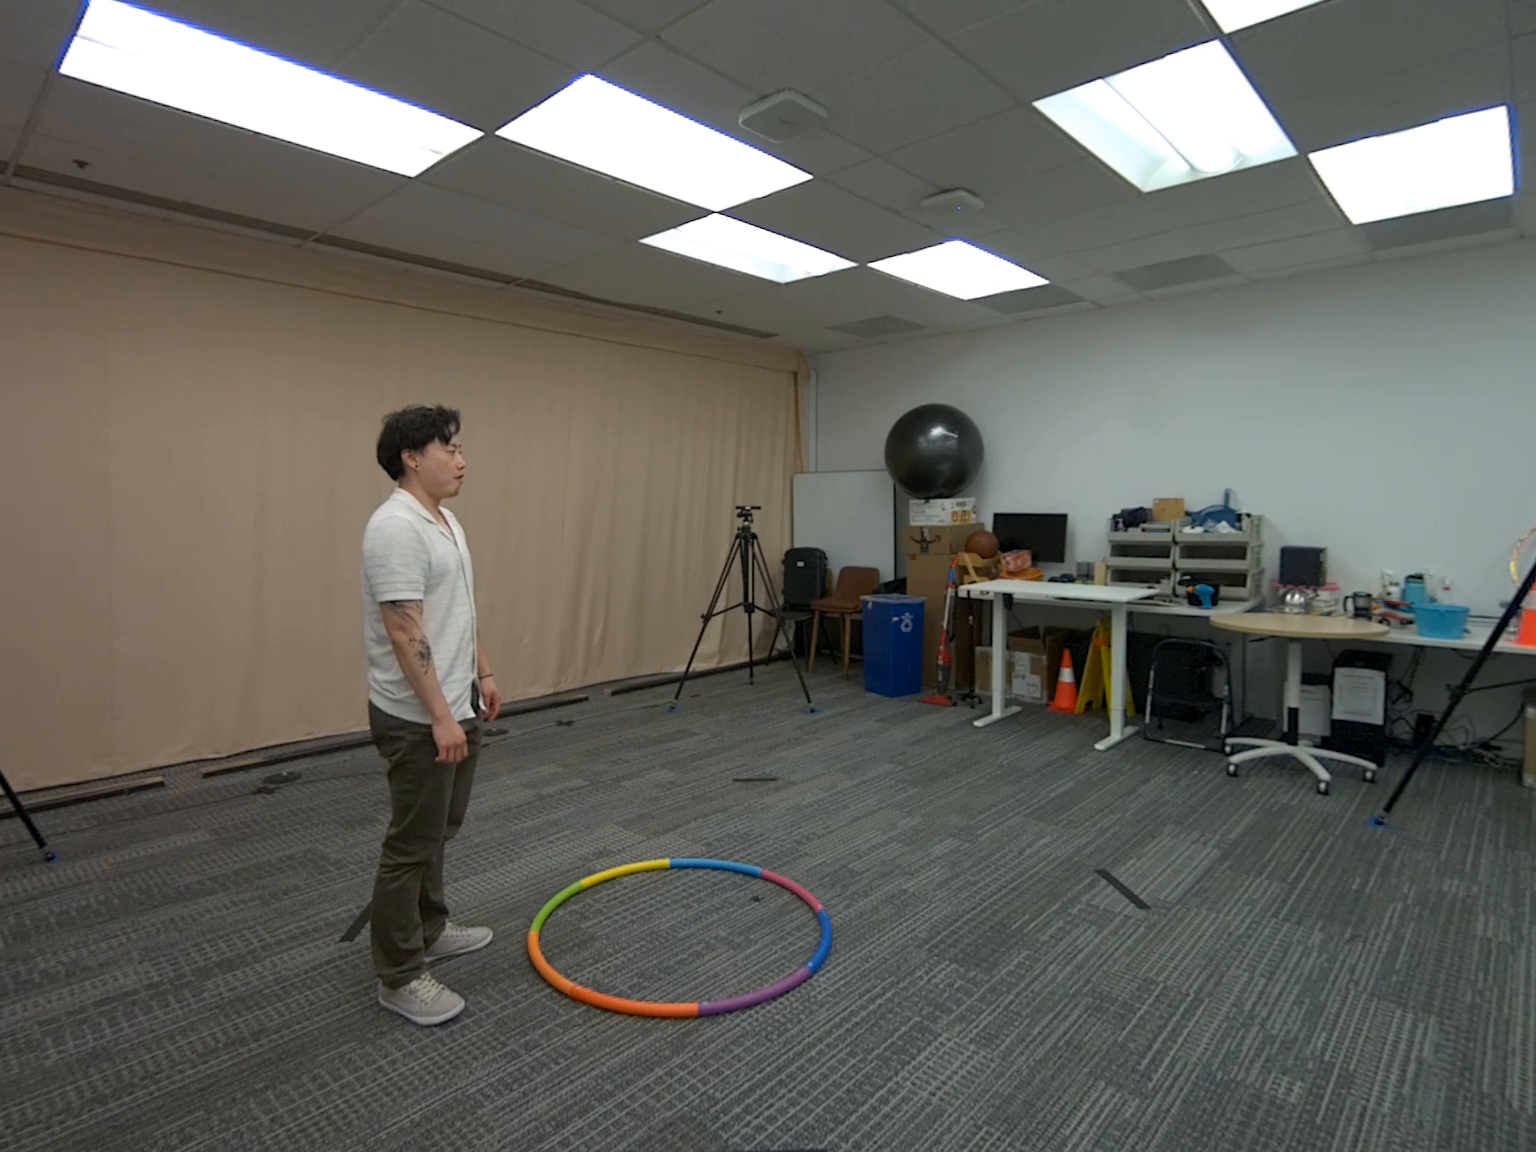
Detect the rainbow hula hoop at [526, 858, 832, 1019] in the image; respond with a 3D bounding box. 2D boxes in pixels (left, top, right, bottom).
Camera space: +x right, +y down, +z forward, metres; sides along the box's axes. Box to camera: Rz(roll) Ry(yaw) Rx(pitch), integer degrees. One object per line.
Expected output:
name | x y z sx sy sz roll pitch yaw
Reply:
rainbow hula hoop | -0.285 1.135 2.771 0.978 0.035 0.982 -1 5 -2
